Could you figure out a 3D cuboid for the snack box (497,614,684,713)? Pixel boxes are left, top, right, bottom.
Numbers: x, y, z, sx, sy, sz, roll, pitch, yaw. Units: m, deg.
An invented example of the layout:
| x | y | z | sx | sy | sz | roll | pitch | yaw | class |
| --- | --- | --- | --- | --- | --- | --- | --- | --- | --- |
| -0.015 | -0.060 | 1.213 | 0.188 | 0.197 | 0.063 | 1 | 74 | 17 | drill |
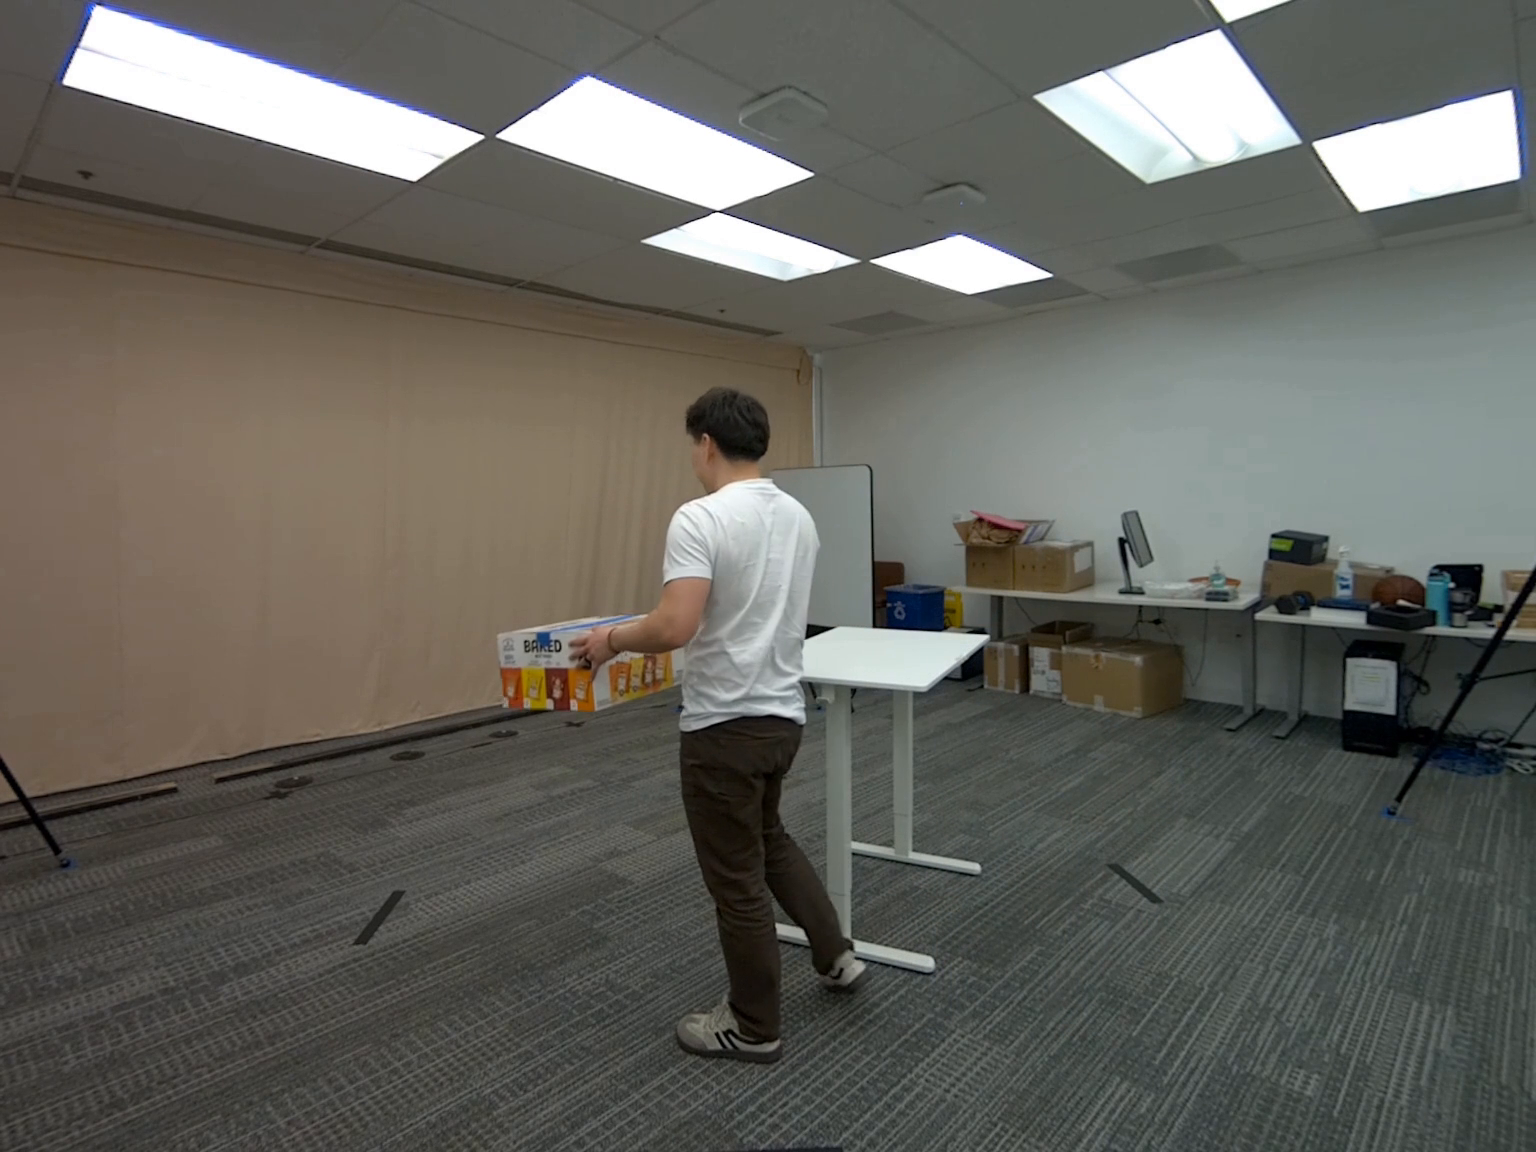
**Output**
| x | y | z | sx | sy | sz | roll | pitch | yaw | class |
| --- | --- | --- | --- | --- | --- | --- | --- | --- | --- |
| -0.469 | 0.232 | 2.382 | 0.350 | 0.205 | 0.394 | -3 | 3 | 32 | snack box |
